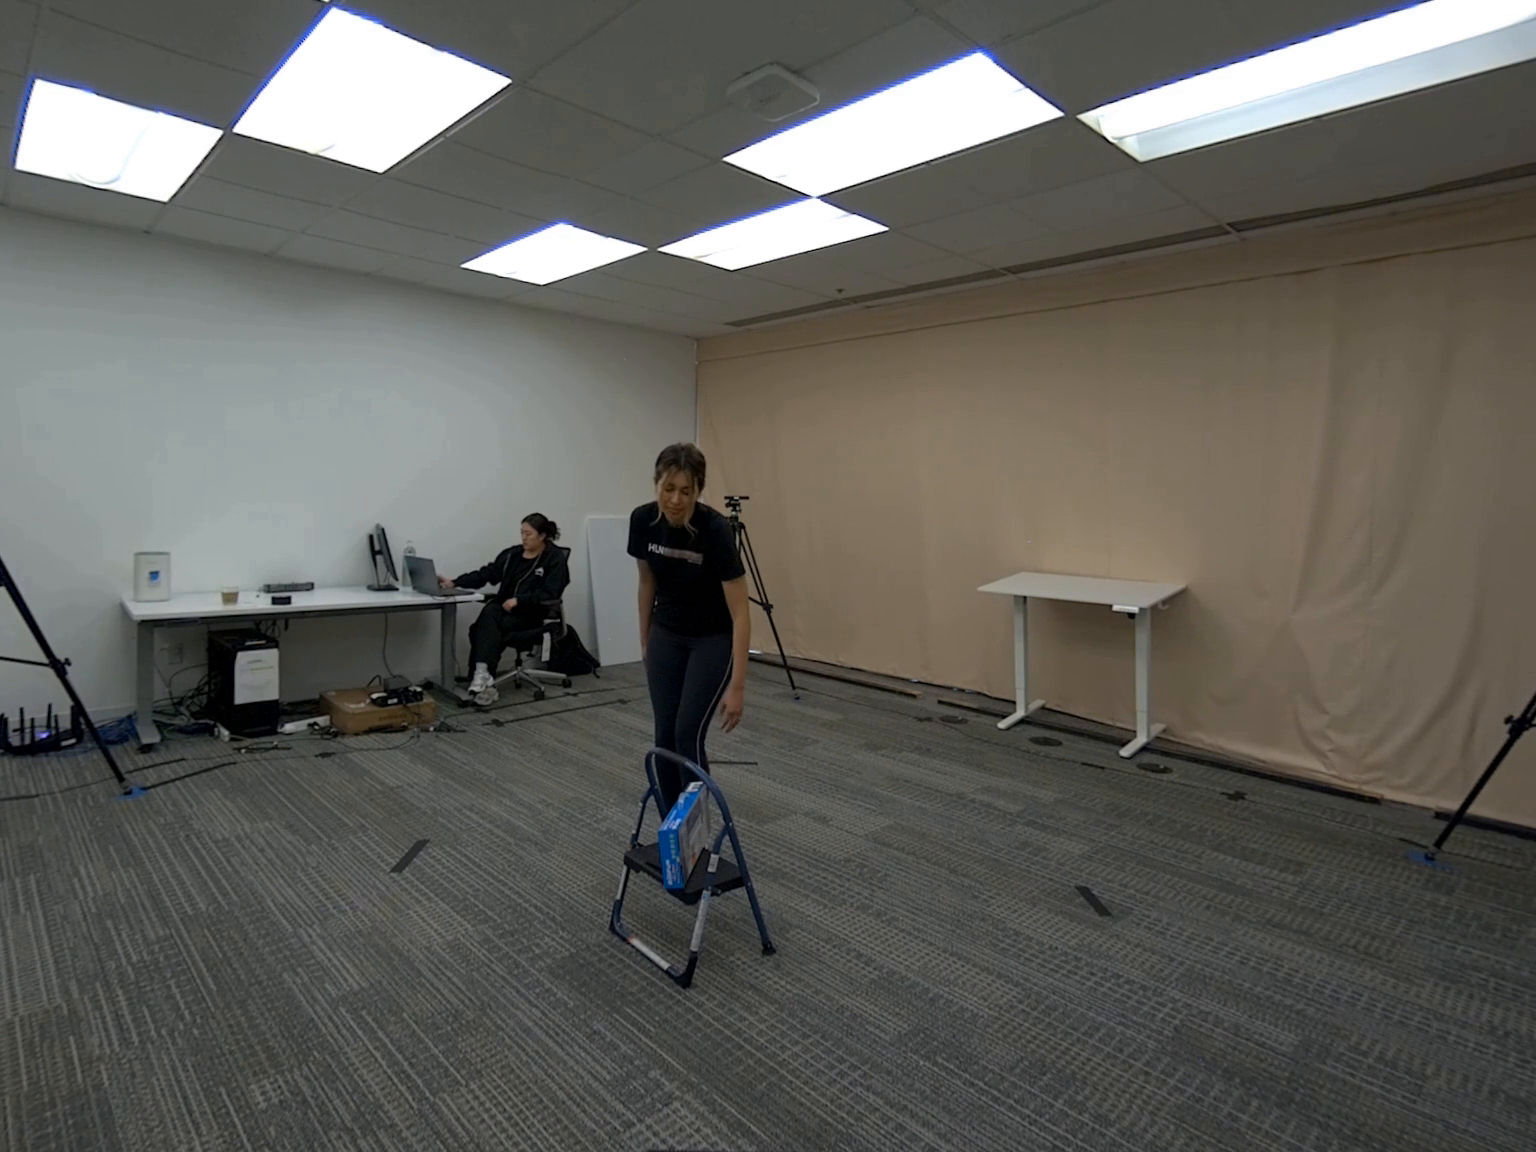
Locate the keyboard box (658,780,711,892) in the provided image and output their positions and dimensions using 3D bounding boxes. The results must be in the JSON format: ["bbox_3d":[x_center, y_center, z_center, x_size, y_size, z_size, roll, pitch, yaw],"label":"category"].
[{"bbox_3d":[-0.262,0.798,2.616,0.059,0.175,0.435,-5,4,6],"label":"keyboard box"}]
